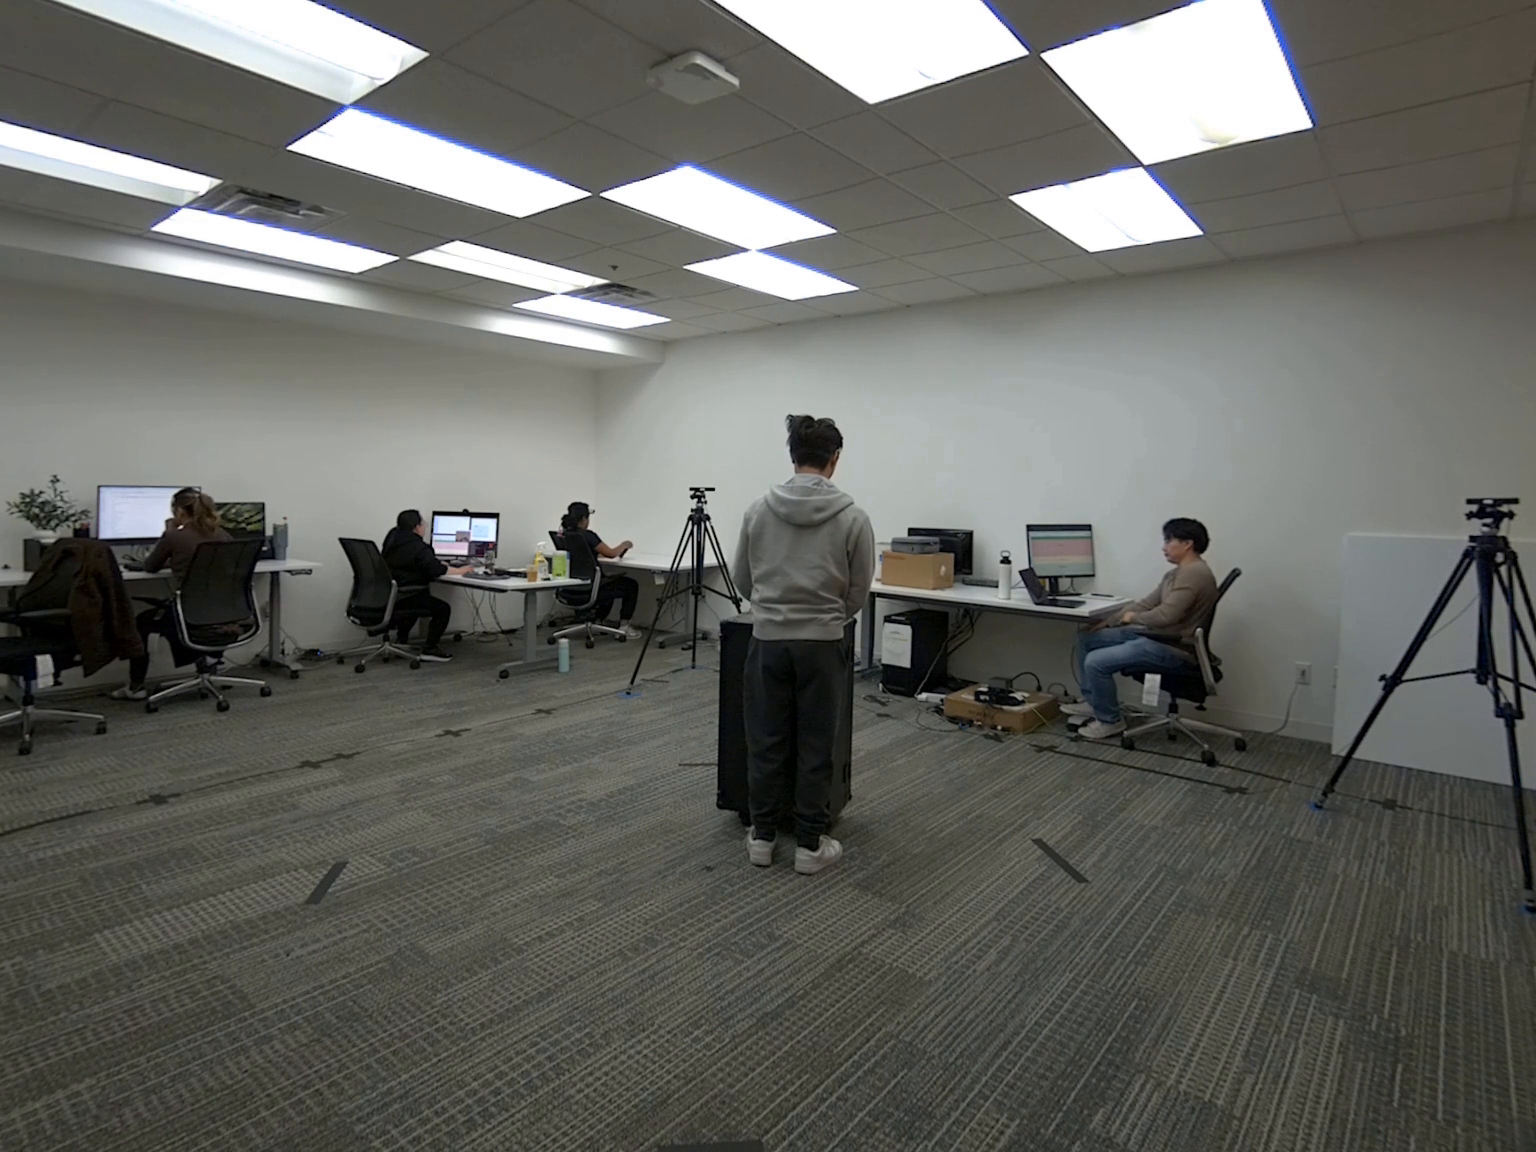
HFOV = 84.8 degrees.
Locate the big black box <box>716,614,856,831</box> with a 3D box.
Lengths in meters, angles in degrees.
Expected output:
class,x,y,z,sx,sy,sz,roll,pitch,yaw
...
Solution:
class,x,y,z,sx,sy,sz,roll,pitch,yaw
big black box,0.067,0.600,3.551,0.533,0.858,0.389,3,4,21
